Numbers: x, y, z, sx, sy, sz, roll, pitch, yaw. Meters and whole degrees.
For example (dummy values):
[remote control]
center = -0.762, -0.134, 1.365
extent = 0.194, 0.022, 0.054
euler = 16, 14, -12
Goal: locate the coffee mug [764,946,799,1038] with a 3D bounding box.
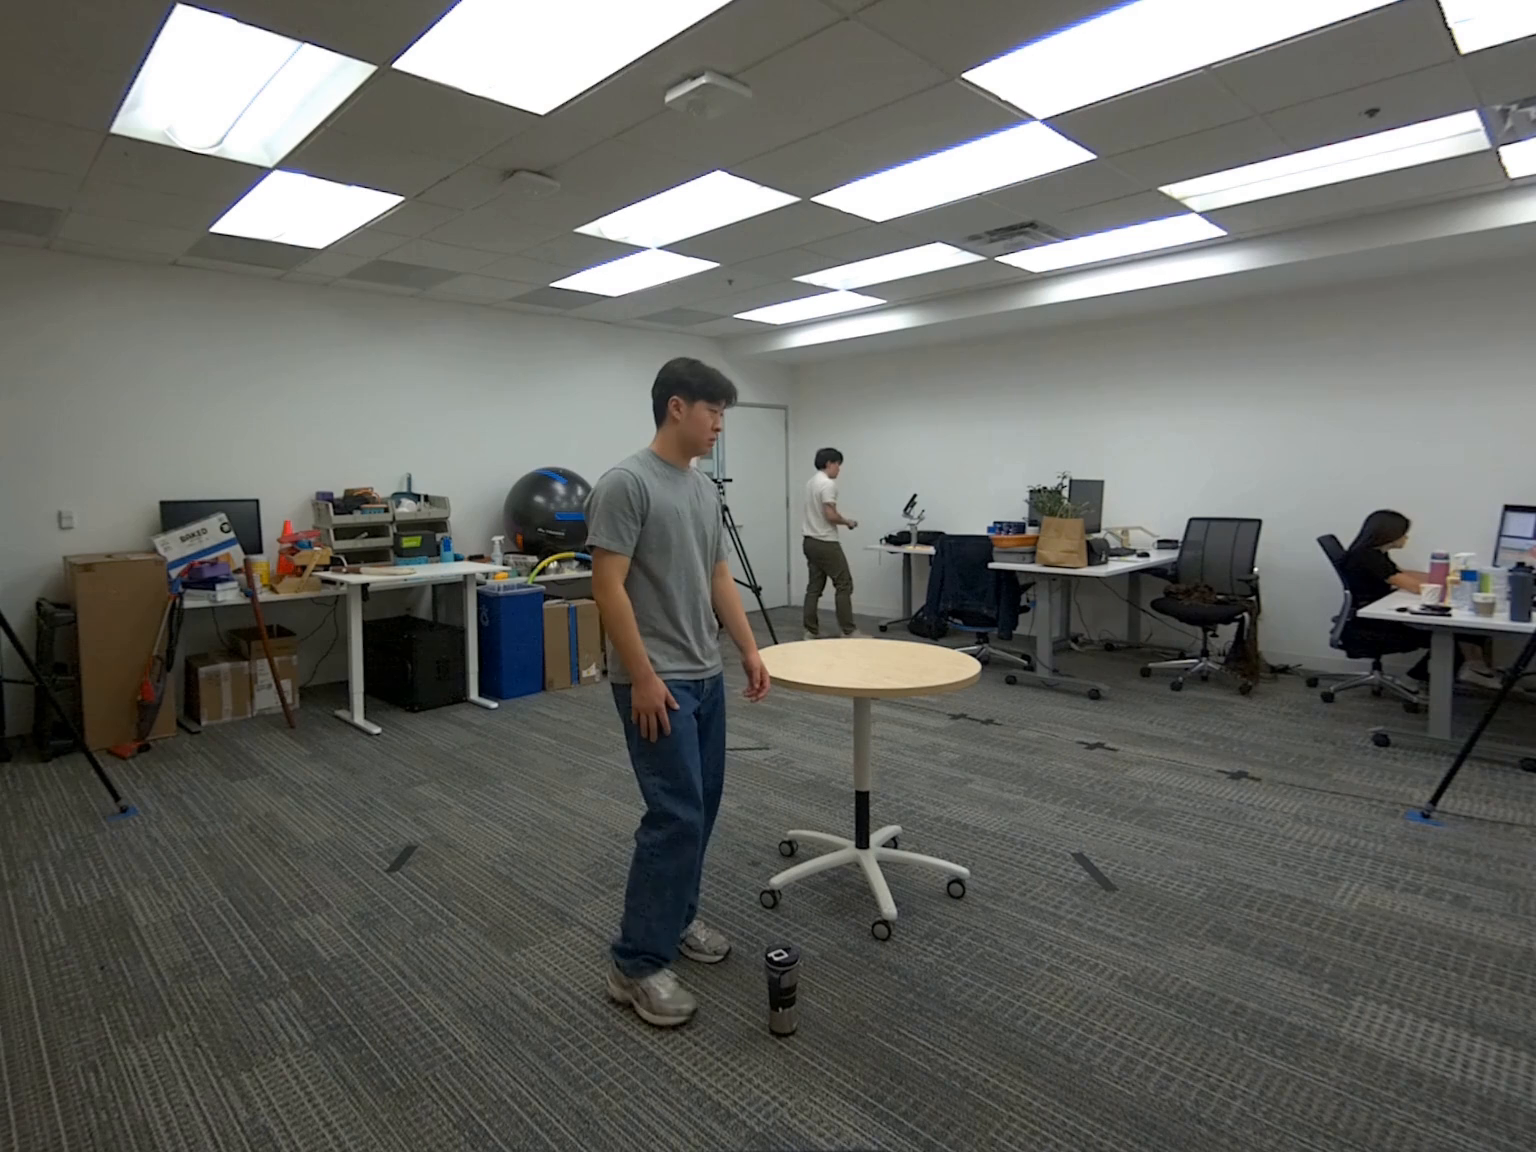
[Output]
[coffee mug]
center = 0.019, 1.056, 2.152
extent = 0.118, 0.202, 0.091
euler = -2, 7, -42
